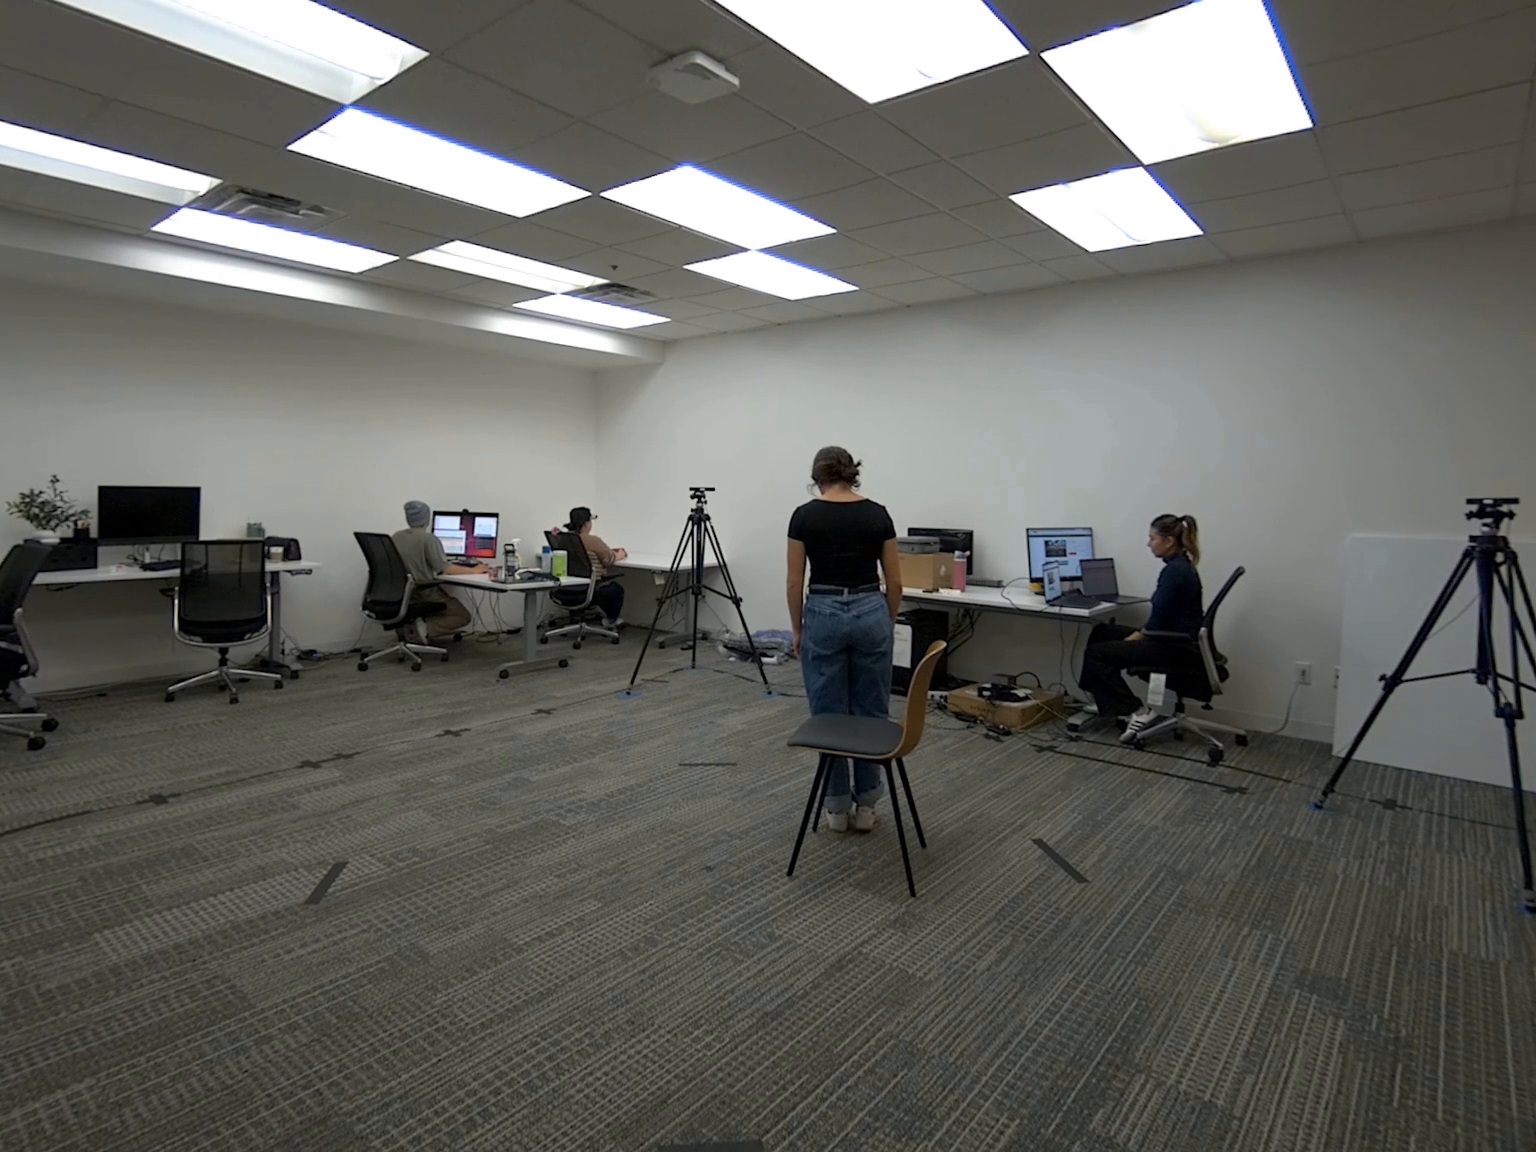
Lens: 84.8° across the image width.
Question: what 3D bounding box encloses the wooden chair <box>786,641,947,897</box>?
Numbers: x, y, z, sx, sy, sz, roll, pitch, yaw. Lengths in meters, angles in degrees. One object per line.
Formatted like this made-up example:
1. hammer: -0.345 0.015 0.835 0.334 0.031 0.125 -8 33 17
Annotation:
1. wooden chair: 0.341 0.643 3.177 0.534 0.874 0.470 7 4 16
